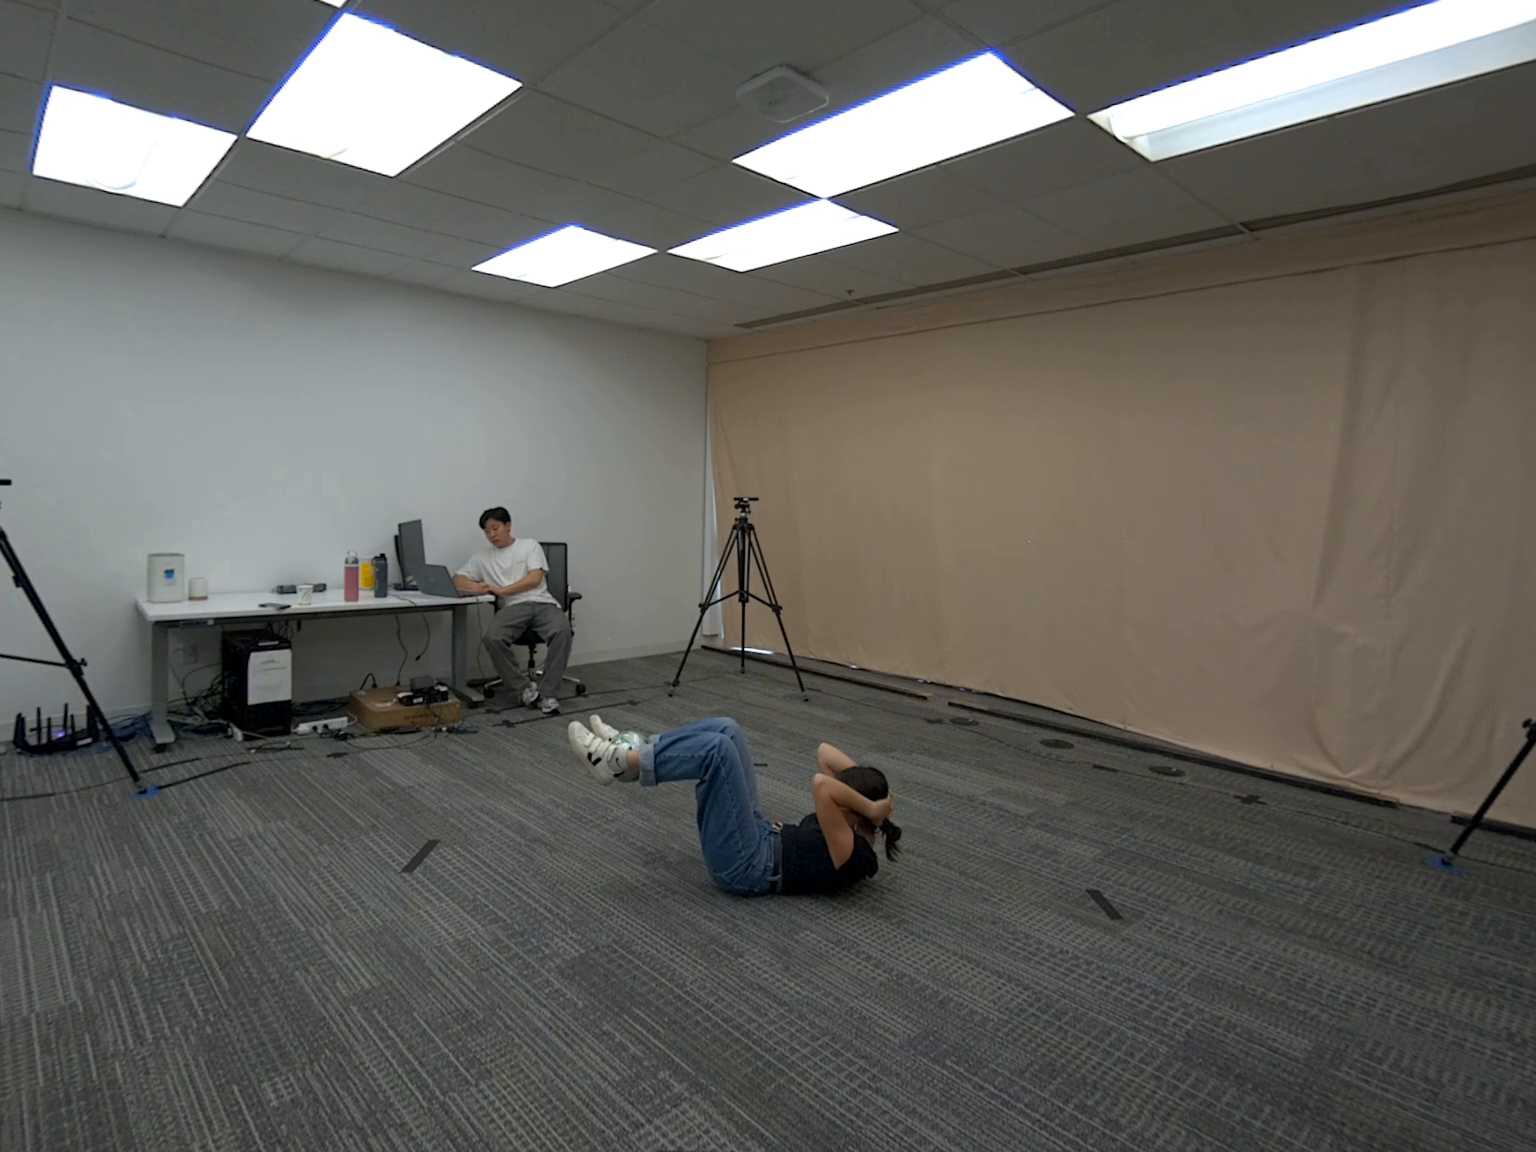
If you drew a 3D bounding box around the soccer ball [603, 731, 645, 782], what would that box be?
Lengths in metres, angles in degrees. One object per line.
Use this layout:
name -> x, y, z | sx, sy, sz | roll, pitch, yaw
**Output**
soccer ball -> -0.523, 0.674, 3.115 | 0.187, 0.186, 0.188 | 1, 7, -1
